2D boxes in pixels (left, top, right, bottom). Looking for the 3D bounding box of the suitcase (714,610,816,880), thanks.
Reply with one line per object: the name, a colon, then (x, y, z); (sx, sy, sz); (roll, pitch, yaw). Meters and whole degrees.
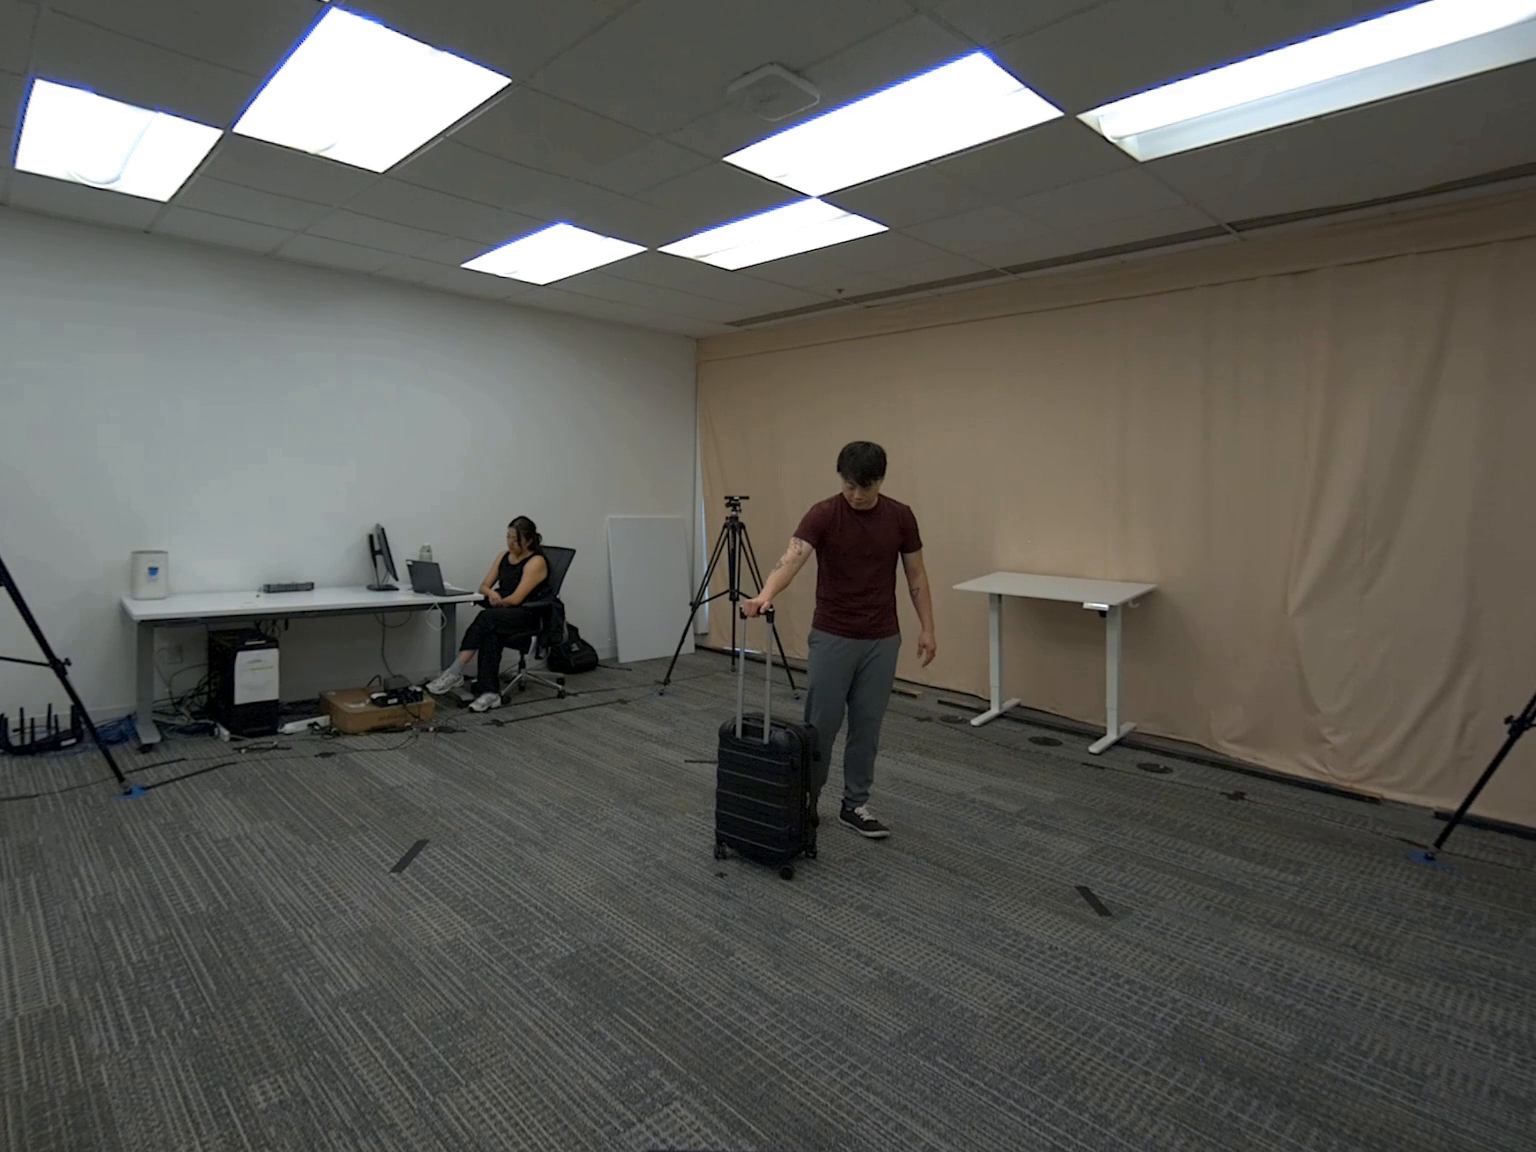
suitcase: (-0.010, 0.614, 3.252); (0.393, 0.978, 0.251); (3, 1, 35)
